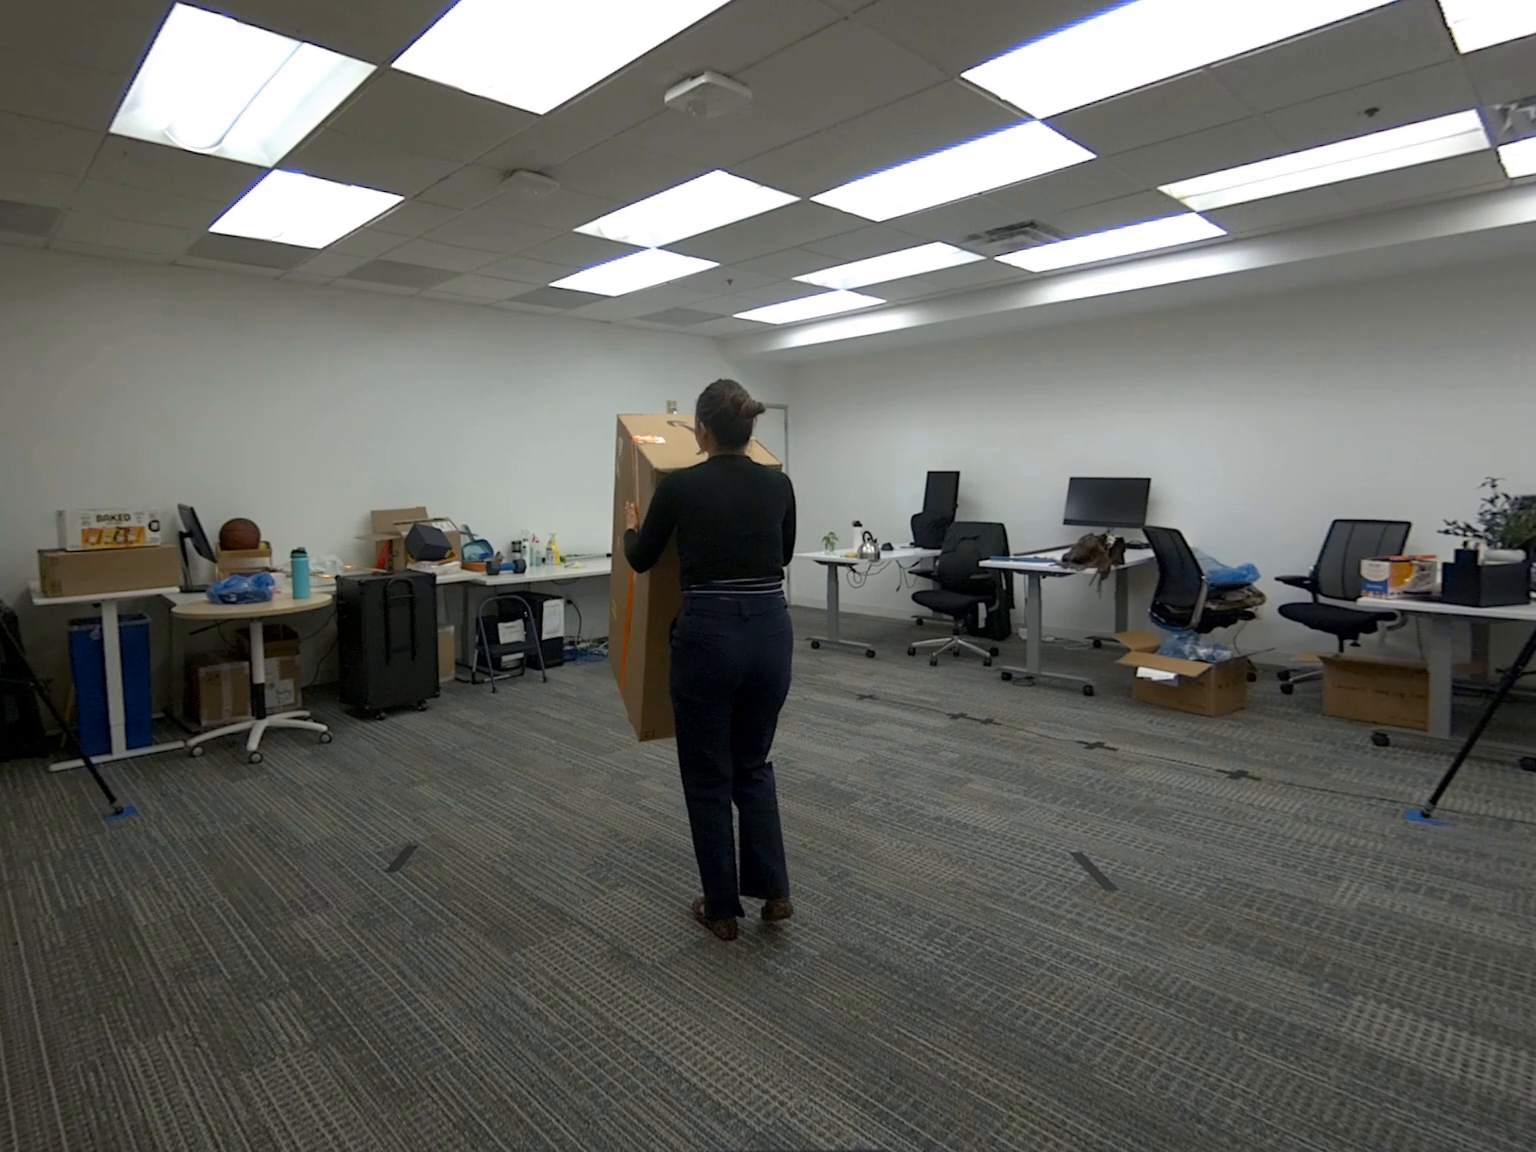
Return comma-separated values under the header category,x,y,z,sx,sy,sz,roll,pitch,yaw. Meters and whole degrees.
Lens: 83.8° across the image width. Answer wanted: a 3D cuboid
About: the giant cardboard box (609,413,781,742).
category,x,y,z,sx,sy,sz,roll,pitch,yaw
giant cardboard box,-0.302,-0.009,3.095,0.419,1.007,0.598,-3,26,-20
